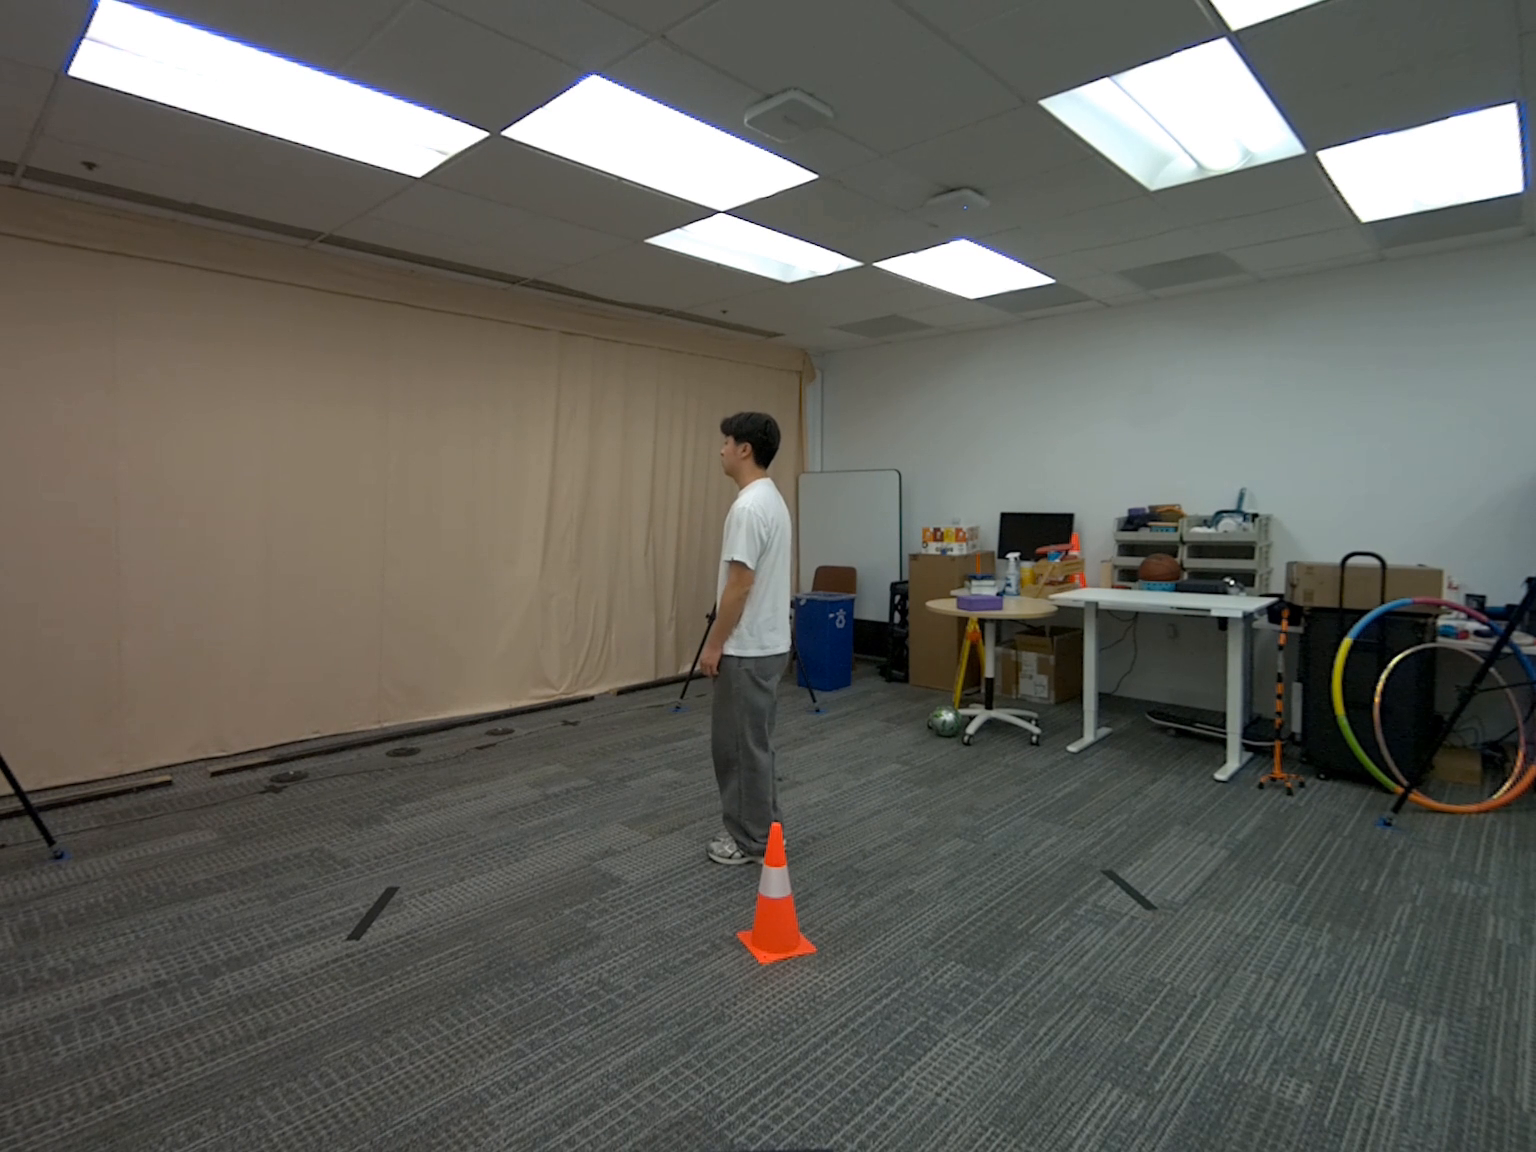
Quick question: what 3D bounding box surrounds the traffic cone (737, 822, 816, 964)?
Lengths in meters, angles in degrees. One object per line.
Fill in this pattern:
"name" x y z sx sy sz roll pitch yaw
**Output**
"traffic cone" 0.027 0.986 2.683 0.199 0.383 0.210 -2 1 -24
